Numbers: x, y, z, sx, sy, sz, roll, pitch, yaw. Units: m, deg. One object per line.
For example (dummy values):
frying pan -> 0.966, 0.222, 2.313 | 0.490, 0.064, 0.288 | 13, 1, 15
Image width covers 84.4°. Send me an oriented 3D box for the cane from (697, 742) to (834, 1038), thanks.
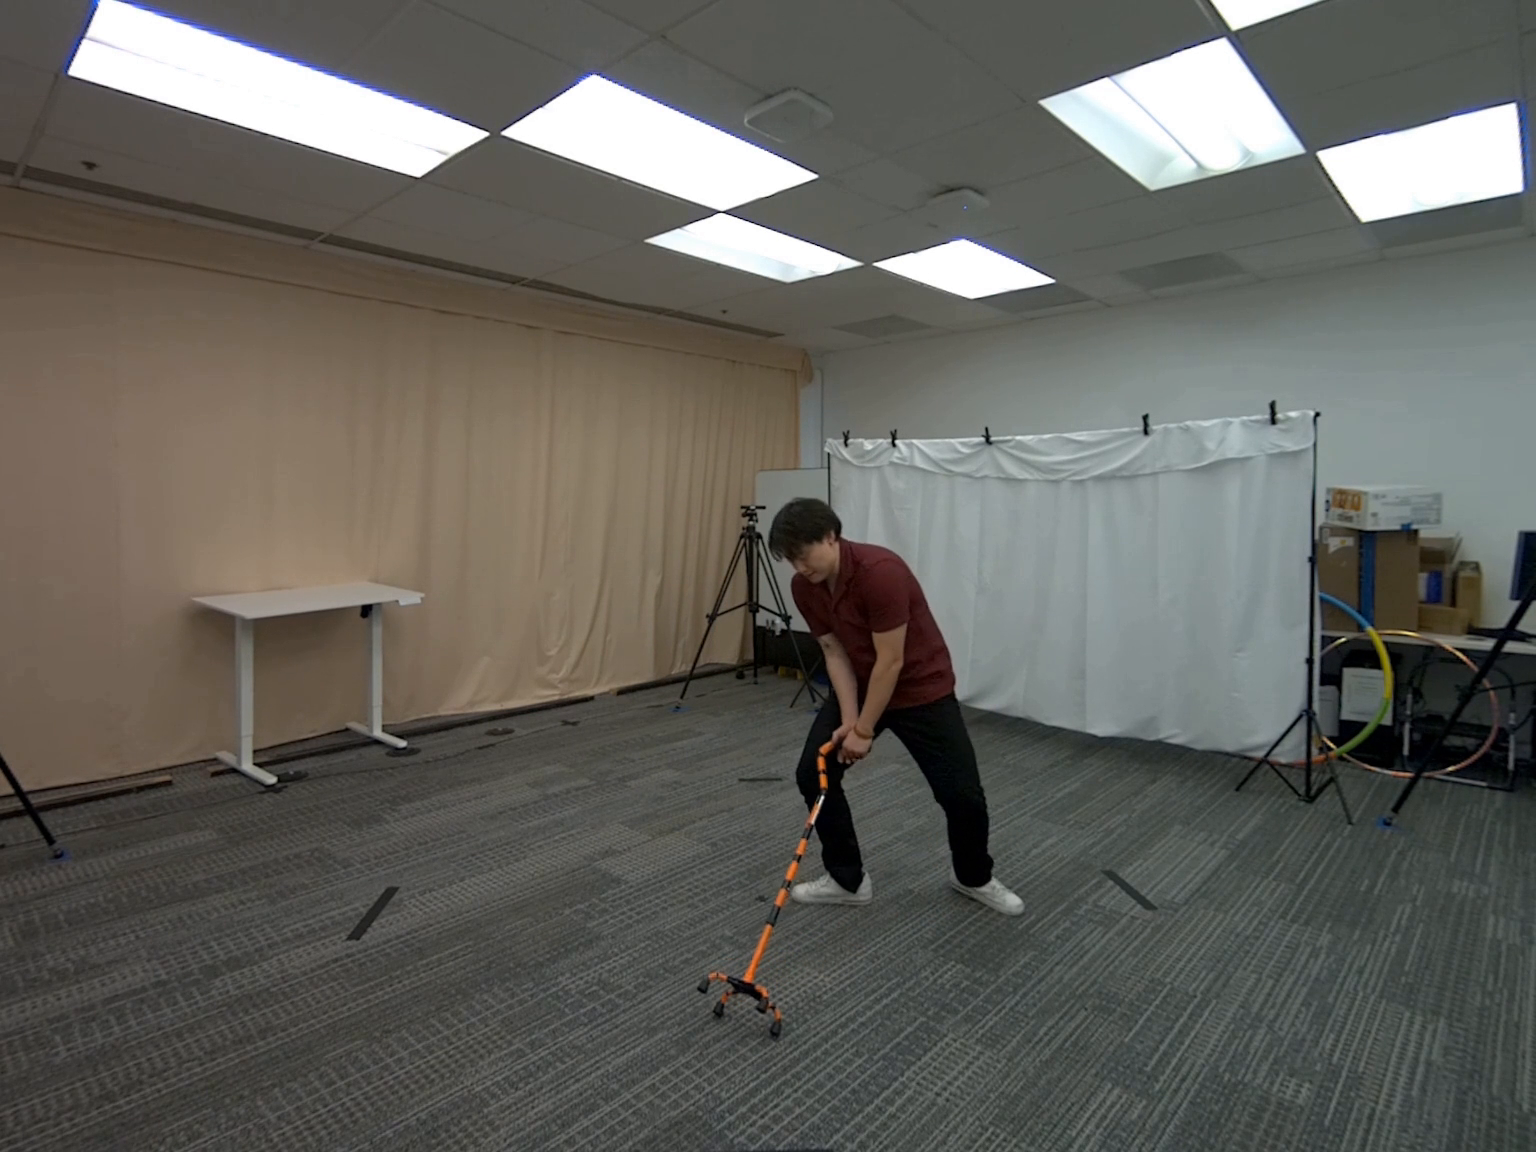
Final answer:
cane -> 0.099, 0.857, 2.504 | 0.212, 0.147, 0.906 | 3, 42, 29
